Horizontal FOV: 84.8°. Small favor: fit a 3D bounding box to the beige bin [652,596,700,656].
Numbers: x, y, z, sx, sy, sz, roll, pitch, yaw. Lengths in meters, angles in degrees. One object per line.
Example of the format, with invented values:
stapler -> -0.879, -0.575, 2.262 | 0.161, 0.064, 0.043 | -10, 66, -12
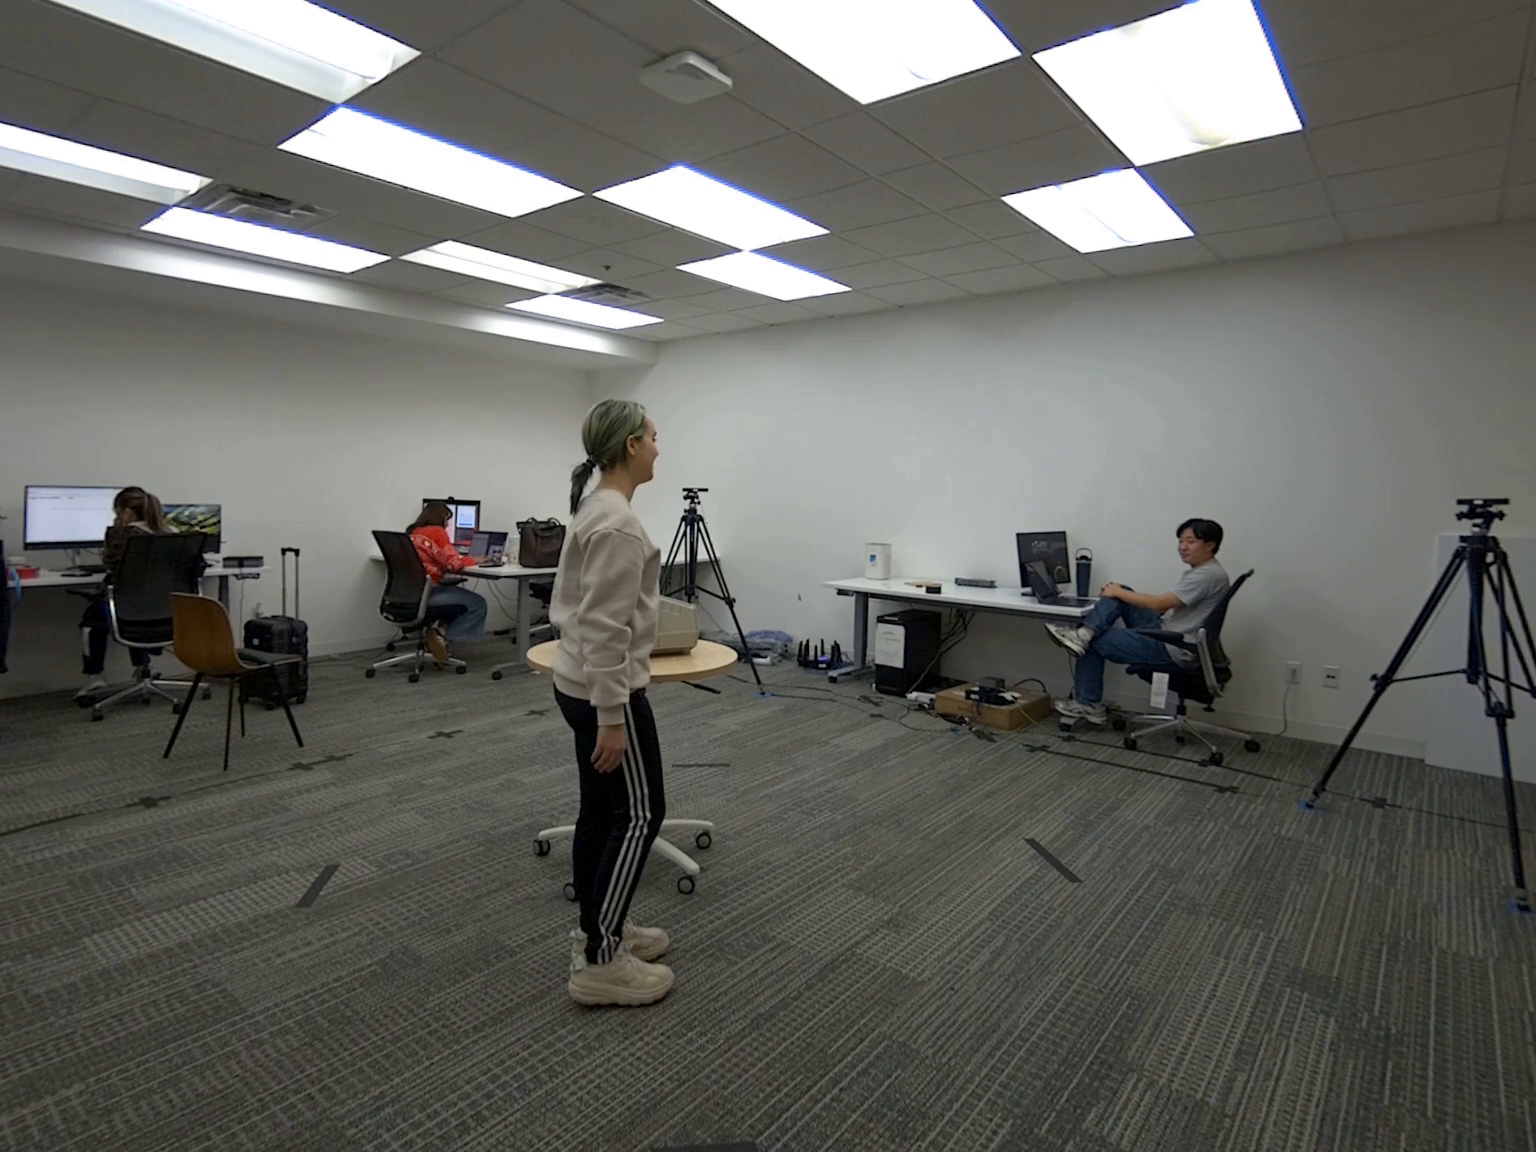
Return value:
beige bin -> -0.531, 0.186, 3.148 | 0.411, 0.188, 0.389 | -2, 5, -31
